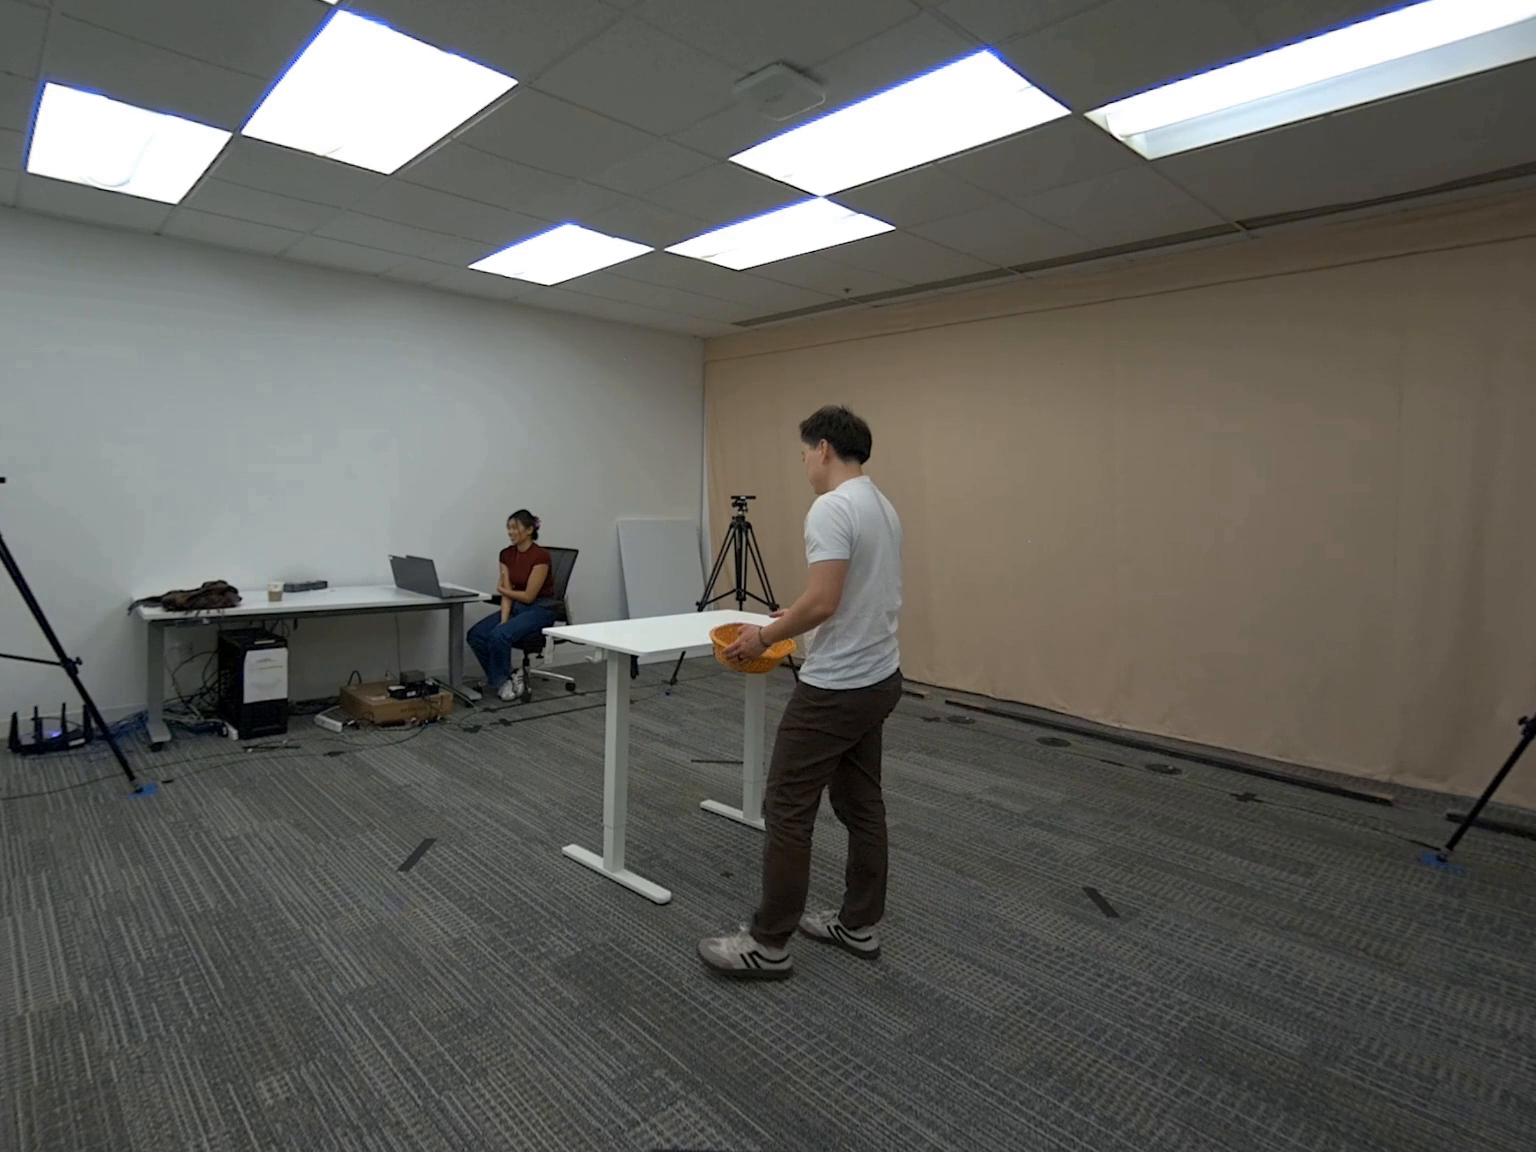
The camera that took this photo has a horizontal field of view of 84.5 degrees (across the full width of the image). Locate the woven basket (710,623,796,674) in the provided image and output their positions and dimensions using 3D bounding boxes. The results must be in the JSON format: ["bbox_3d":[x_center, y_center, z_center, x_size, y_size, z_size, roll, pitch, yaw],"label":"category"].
[{"bbox_3d":[-0.061,0.235,2.665,0.256,0.073,0.347,18,12,14],"label":"woven basket"}]
